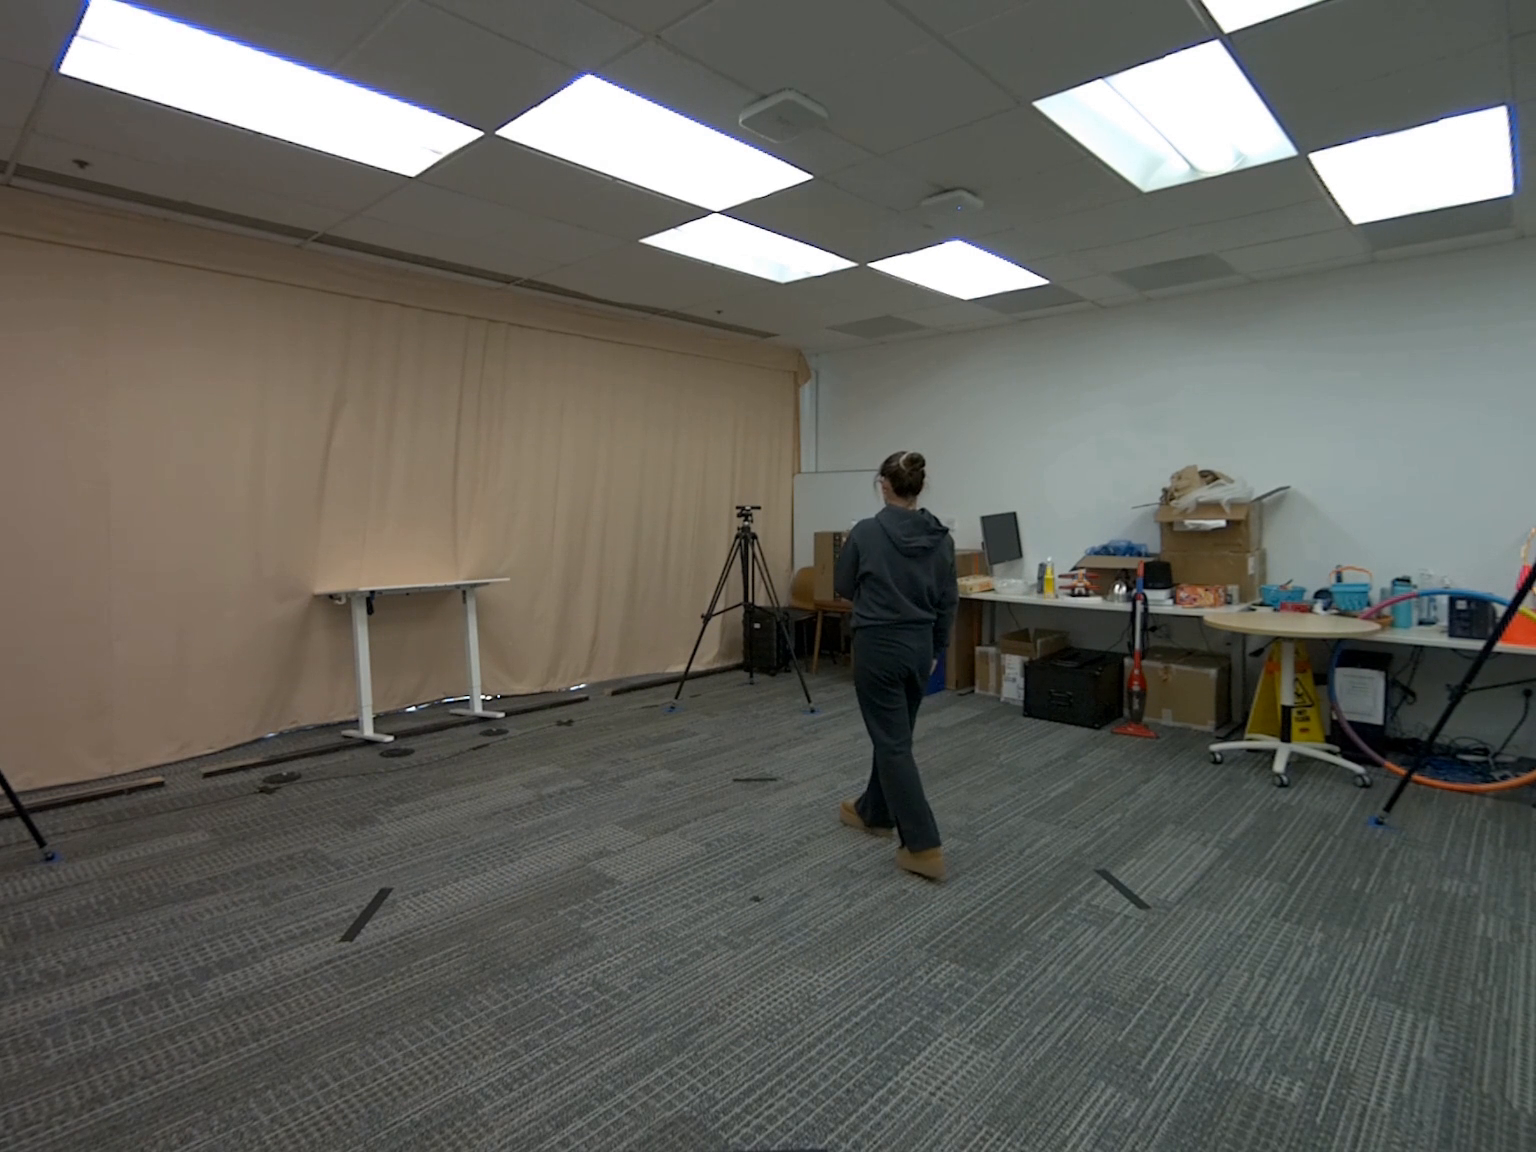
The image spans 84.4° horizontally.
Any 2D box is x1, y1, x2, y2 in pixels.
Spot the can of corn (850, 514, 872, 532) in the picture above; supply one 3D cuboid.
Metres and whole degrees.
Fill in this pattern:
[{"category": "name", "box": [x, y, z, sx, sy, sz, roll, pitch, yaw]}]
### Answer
[{"category": "can of corn", "box": [0.402, -0.206, 3.653, 0.074, 0.111, 0.074, 8, 5, -3]}]
